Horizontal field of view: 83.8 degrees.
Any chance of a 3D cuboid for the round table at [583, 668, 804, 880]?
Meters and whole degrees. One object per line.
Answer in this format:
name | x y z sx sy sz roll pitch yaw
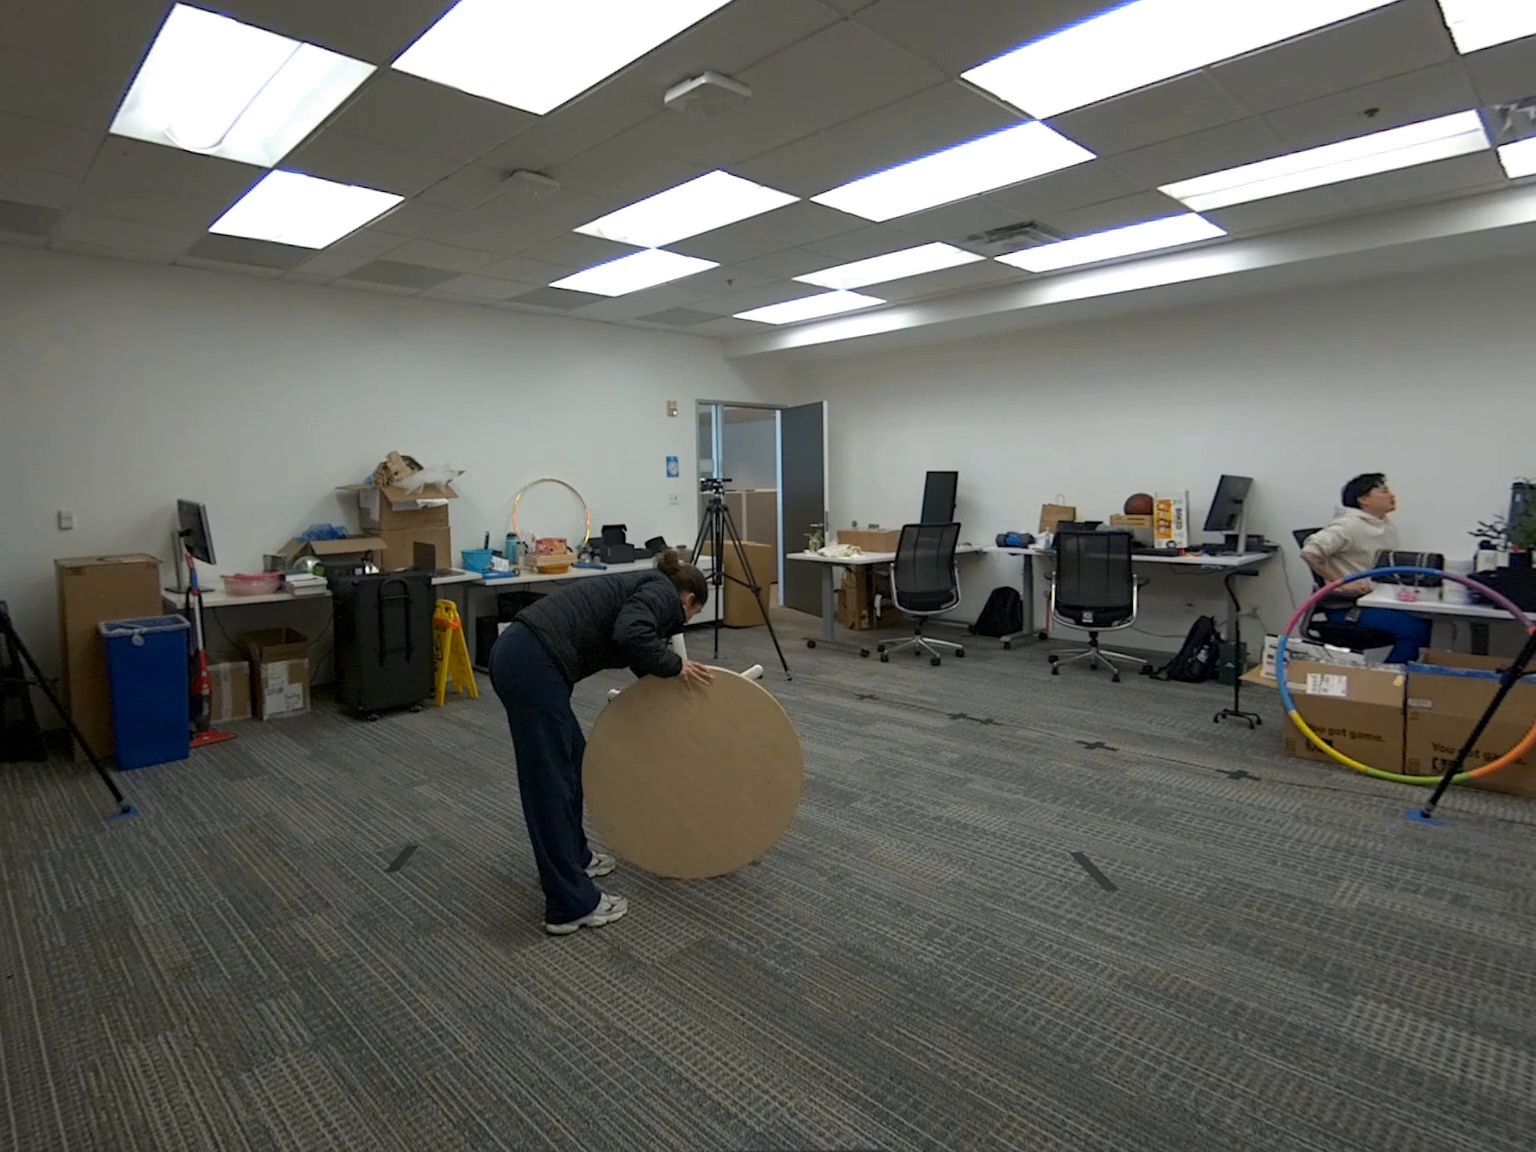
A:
round table | -0.300 0.625 3.346 0.783 0.779 0.795 -1 9 -3
